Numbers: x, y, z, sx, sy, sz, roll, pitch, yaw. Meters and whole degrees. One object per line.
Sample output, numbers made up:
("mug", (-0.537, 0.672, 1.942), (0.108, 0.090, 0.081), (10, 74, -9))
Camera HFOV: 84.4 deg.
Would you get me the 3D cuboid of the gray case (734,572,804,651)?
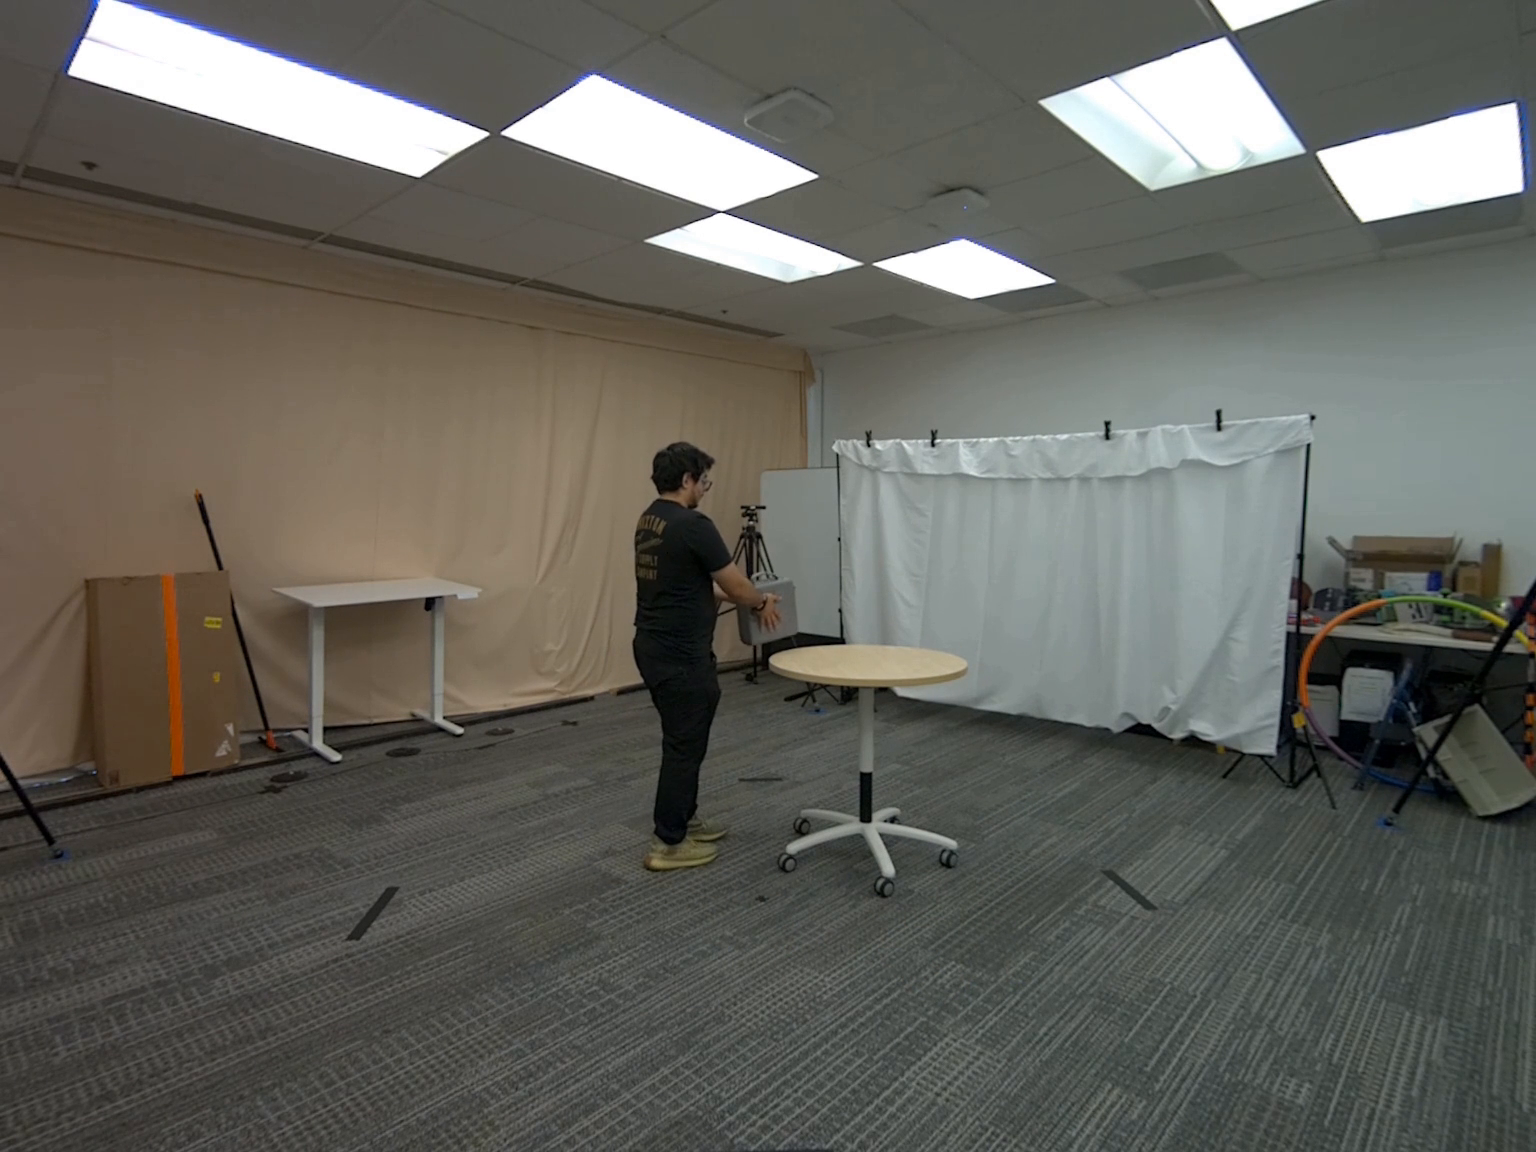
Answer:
("gray case", (-0.001, 0.144, 3.533), (0.251, 0.258, 0.107), (-13, 12, -27))
